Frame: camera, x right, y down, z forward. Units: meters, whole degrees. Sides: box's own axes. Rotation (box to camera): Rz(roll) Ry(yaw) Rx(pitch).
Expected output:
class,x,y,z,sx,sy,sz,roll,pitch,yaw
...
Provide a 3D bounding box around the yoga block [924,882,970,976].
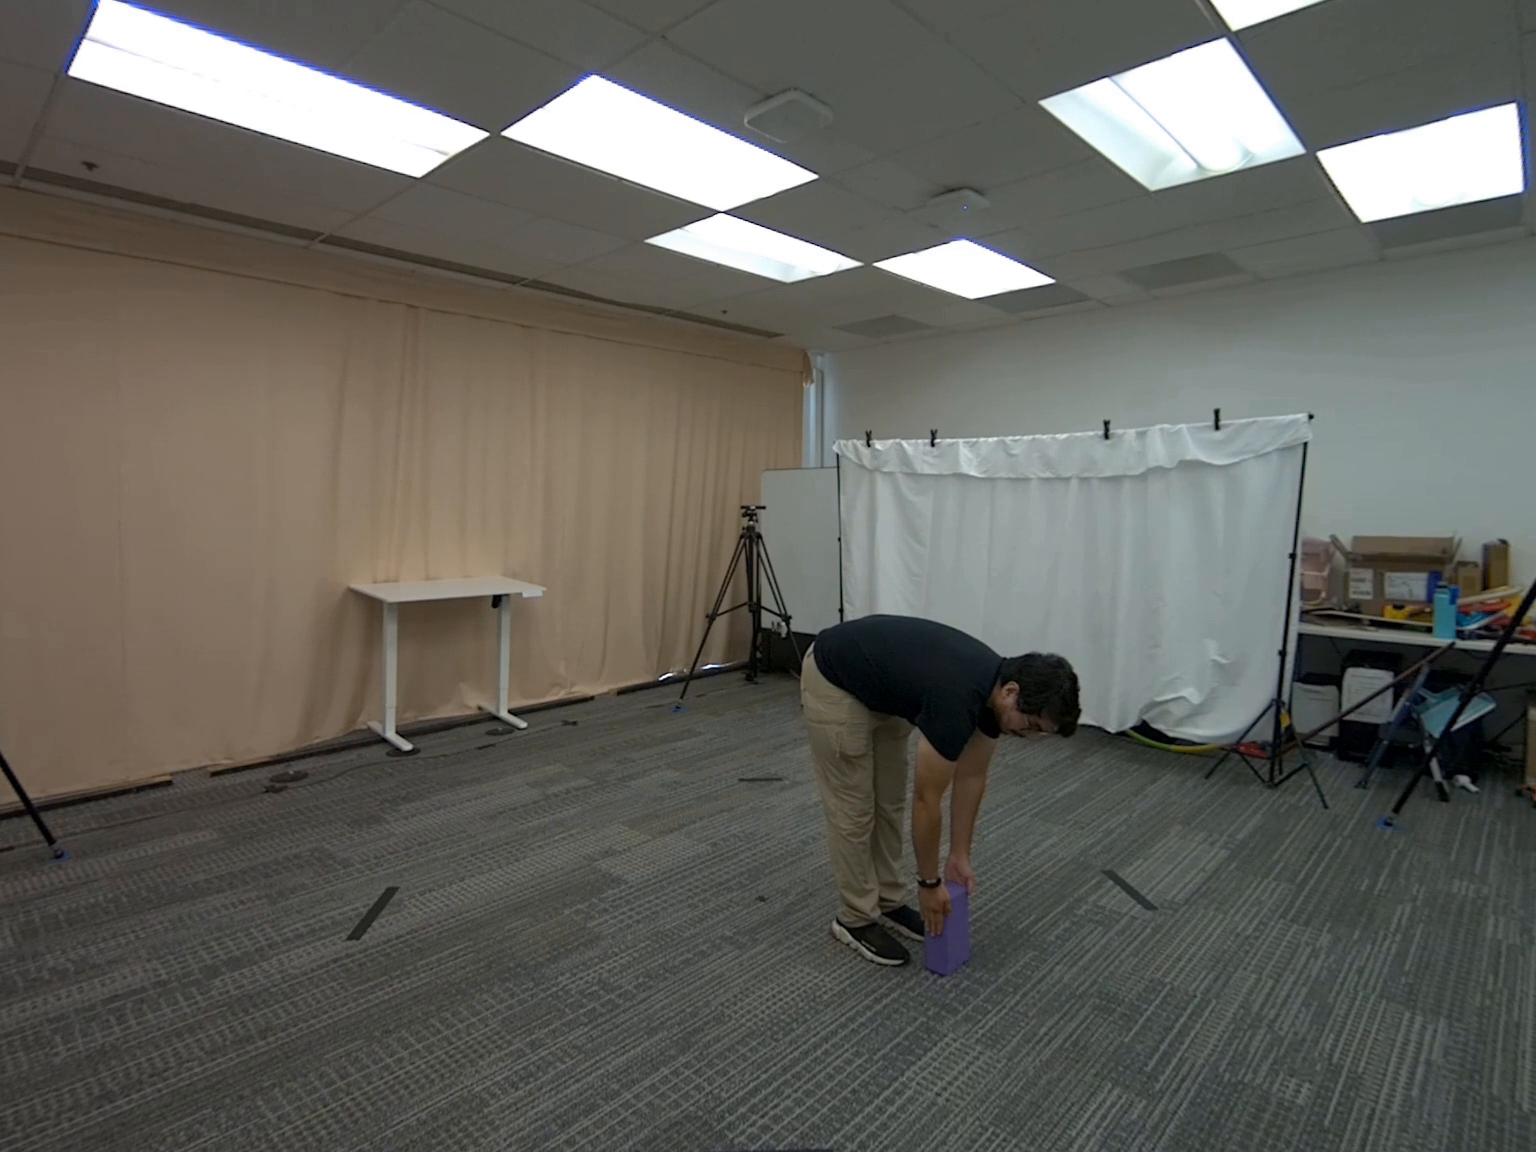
class,x,y,z,sx,sy,sz,roll,pitch,yaw
yoga block,0.548,1.066,2.548,0.079,0.229,0.144,4,4,45
